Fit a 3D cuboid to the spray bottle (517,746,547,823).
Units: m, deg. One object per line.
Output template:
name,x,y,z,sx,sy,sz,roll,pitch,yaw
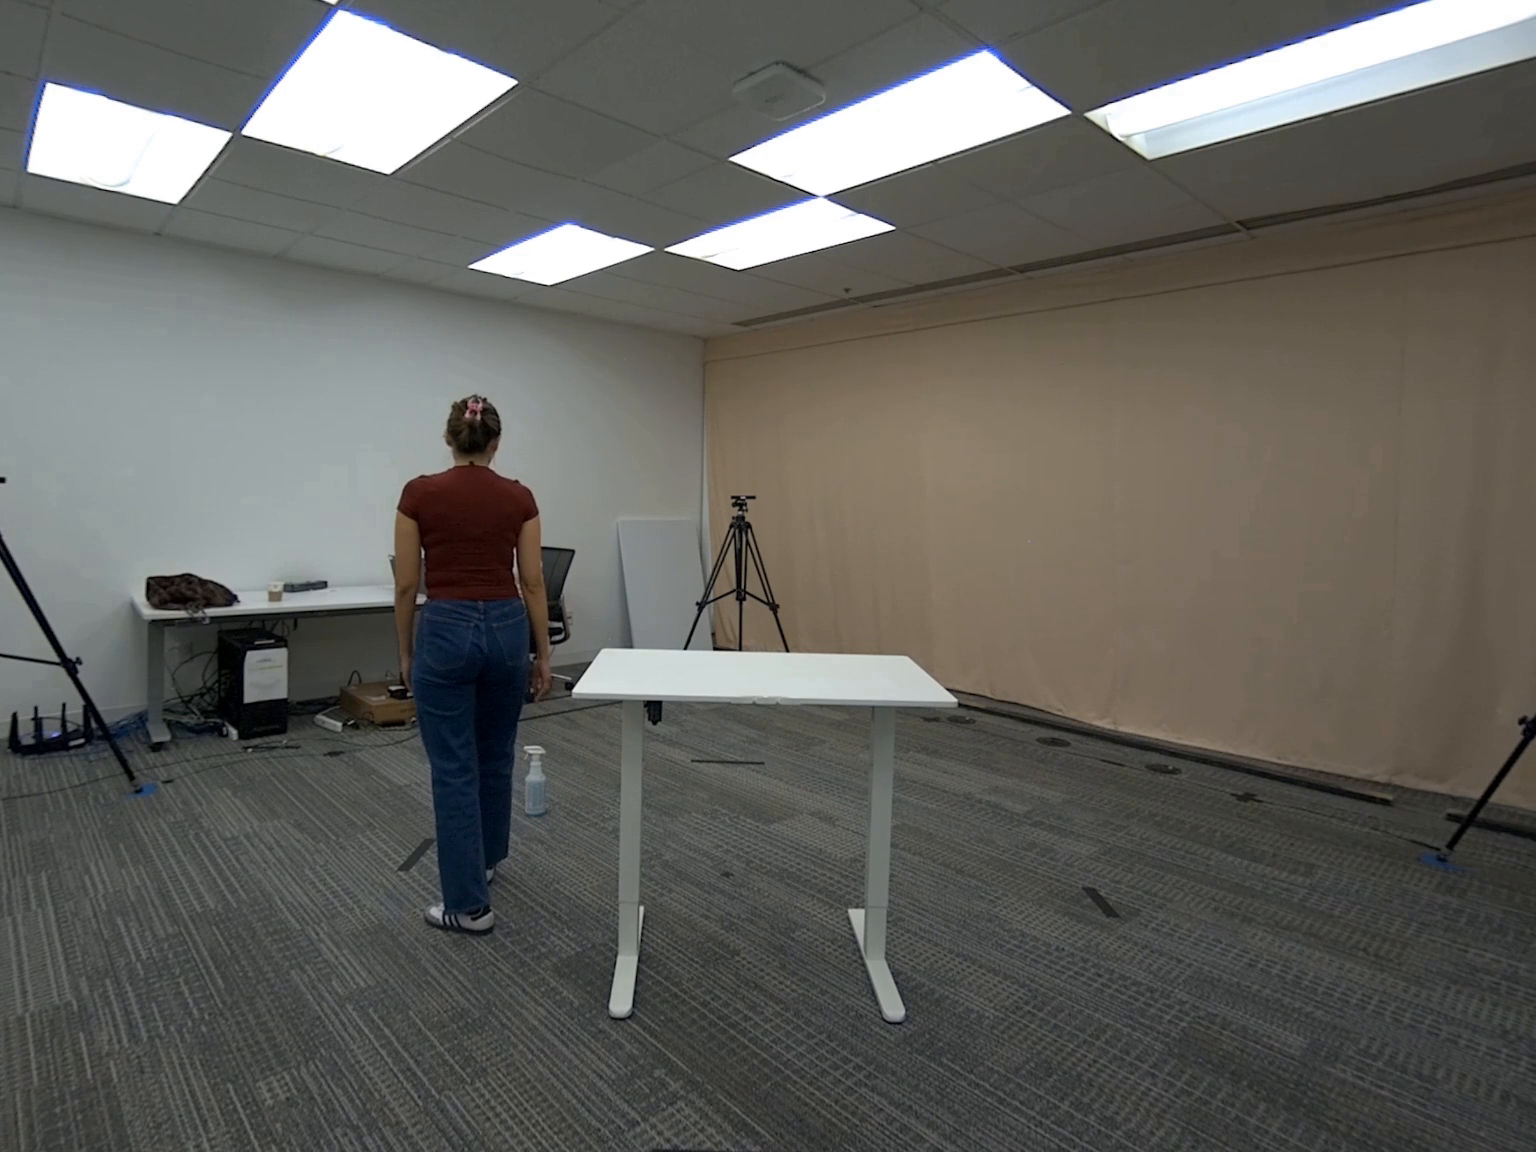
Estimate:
spray bottle,-1.018,0.895,3.650,0.090,0.297,0.087,3,3,5
